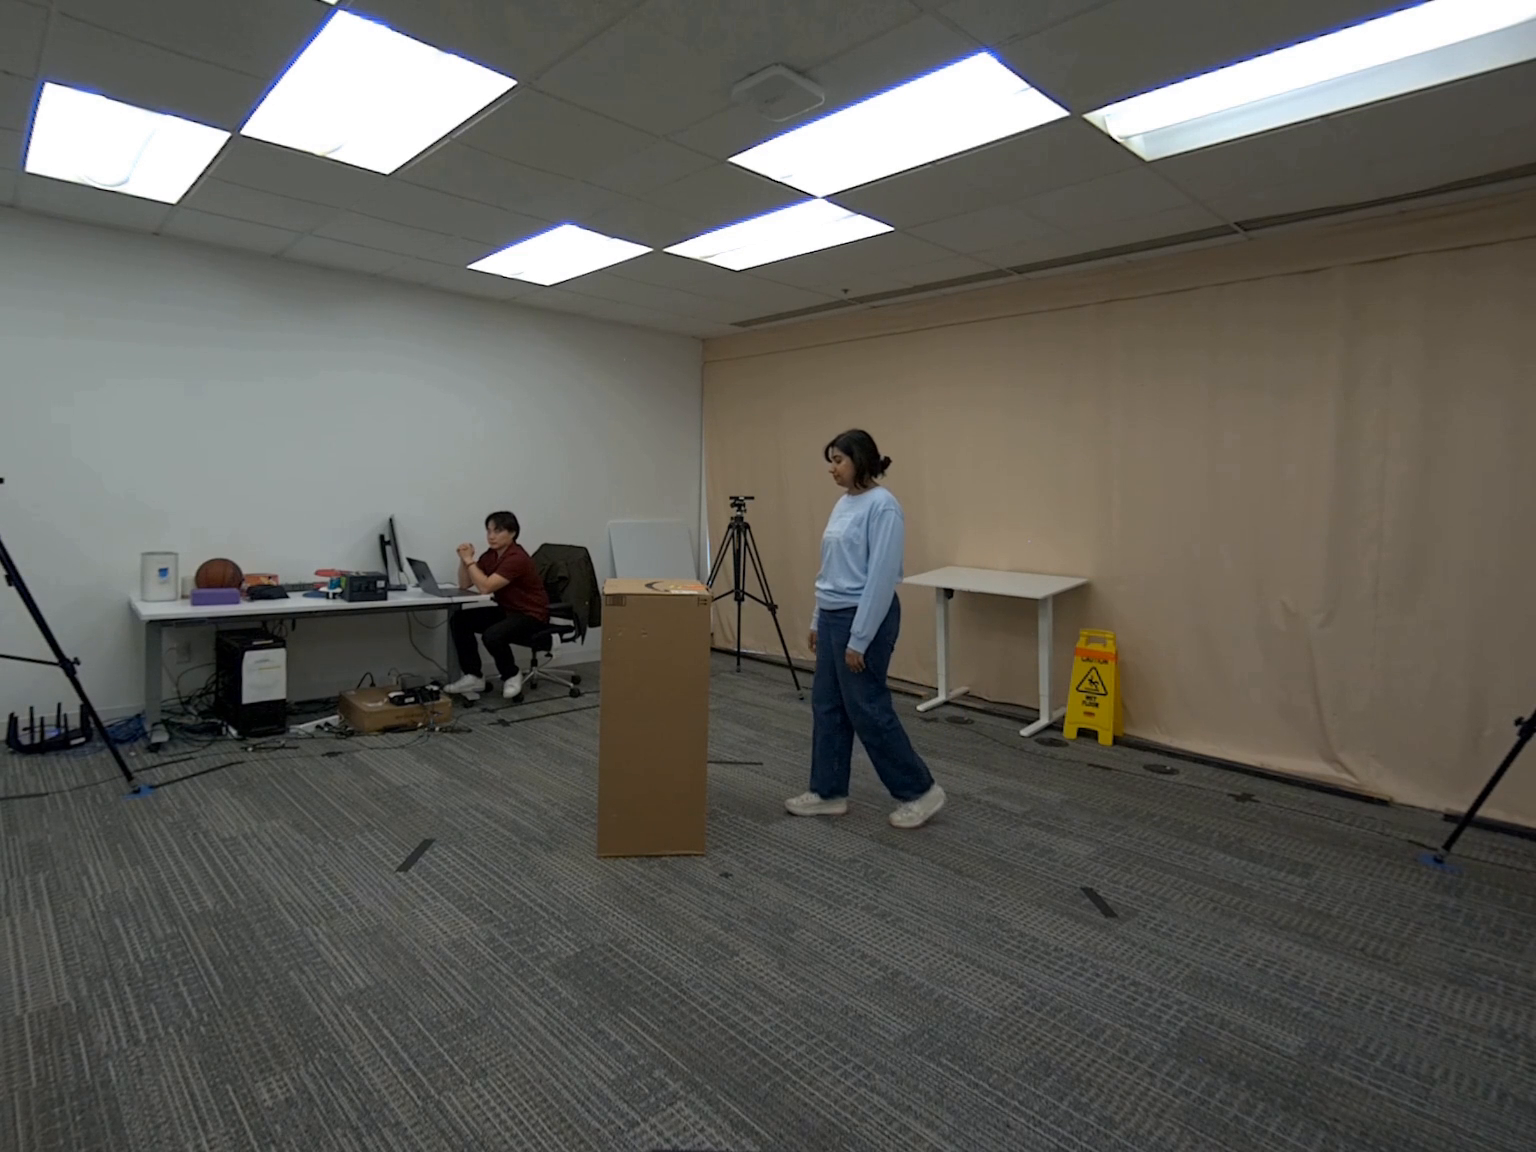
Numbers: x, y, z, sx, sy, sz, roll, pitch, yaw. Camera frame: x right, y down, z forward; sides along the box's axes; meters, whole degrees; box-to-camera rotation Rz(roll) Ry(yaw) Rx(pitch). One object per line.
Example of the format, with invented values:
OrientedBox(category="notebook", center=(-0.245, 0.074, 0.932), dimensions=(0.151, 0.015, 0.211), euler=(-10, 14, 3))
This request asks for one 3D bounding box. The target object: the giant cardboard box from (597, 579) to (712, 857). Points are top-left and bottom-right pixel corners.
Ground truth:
OrientedBox(category="giant cardboard box", center=(-0.488, 0.551, 3.505), dimensions=(0.444, 1.025, 0.589), euler=(2, 3, -8))
